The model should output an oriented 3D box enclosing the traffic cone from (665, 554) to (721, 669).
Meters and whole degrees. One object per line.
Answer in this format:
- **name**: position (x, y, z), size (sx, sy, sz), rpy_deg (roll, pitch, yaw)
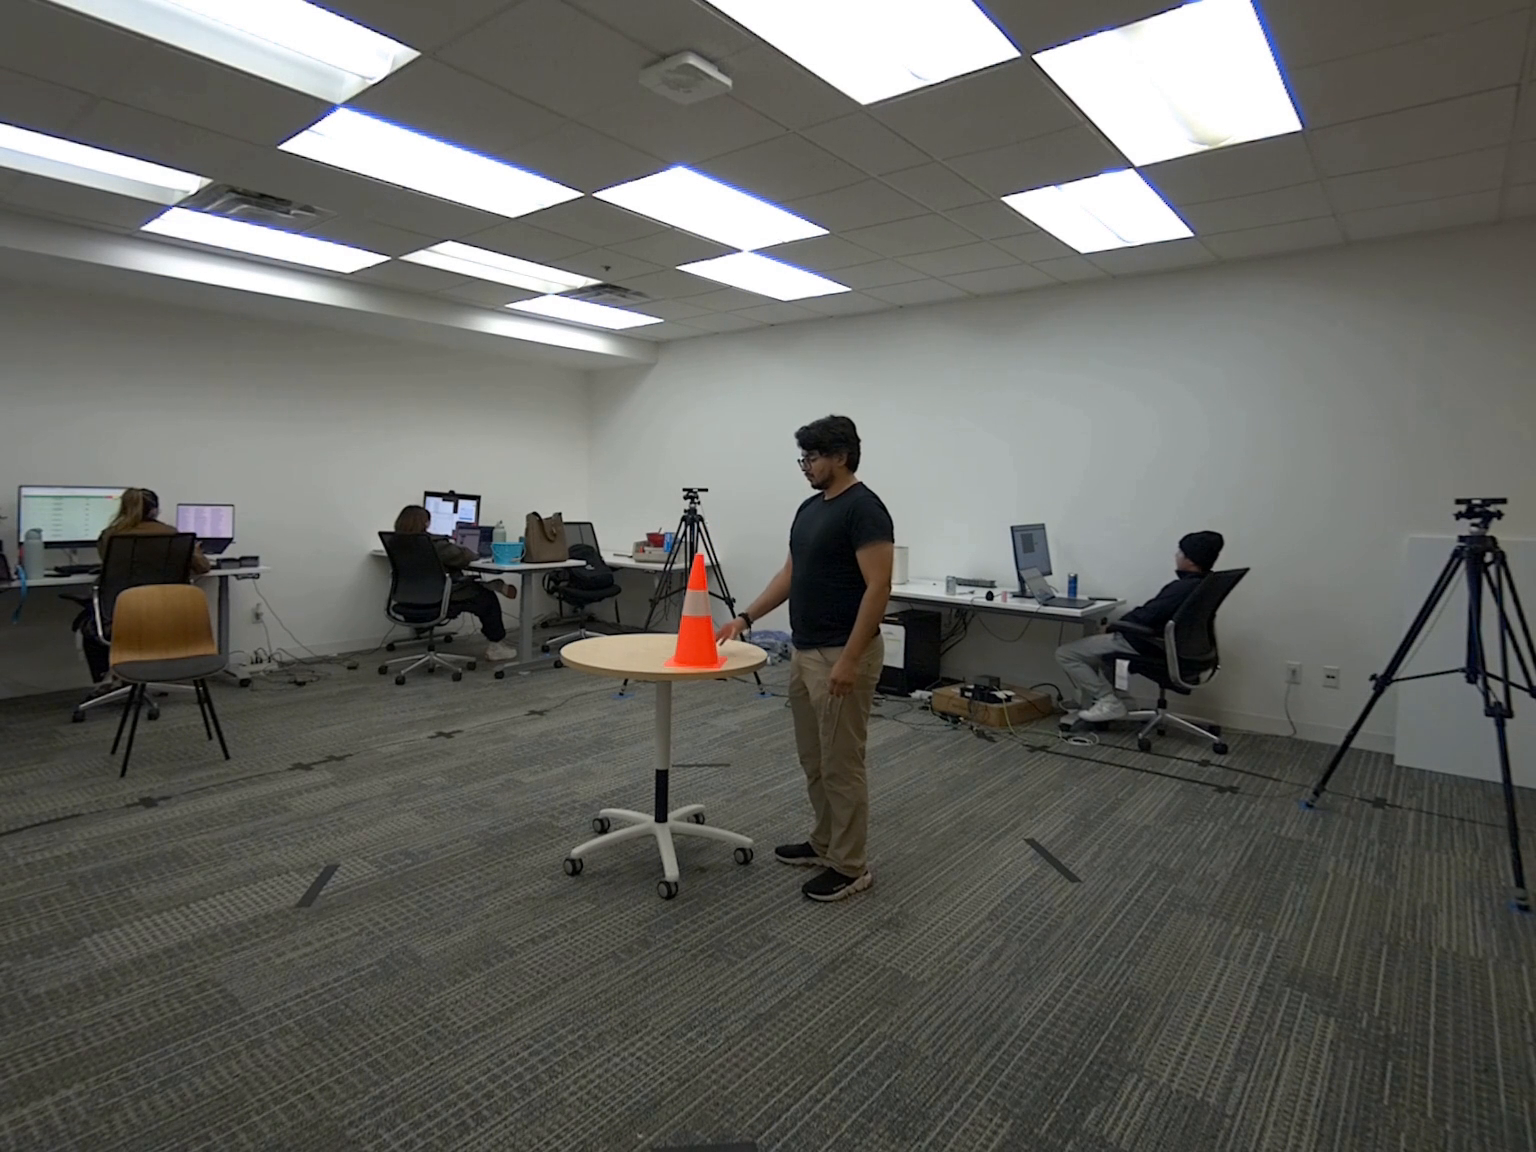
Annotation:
- **traffic cone**: position (-0.252, 0.111, 2.973), size (0.204, 0.382, 0.206), rpy_deg (2, 5, -7)
